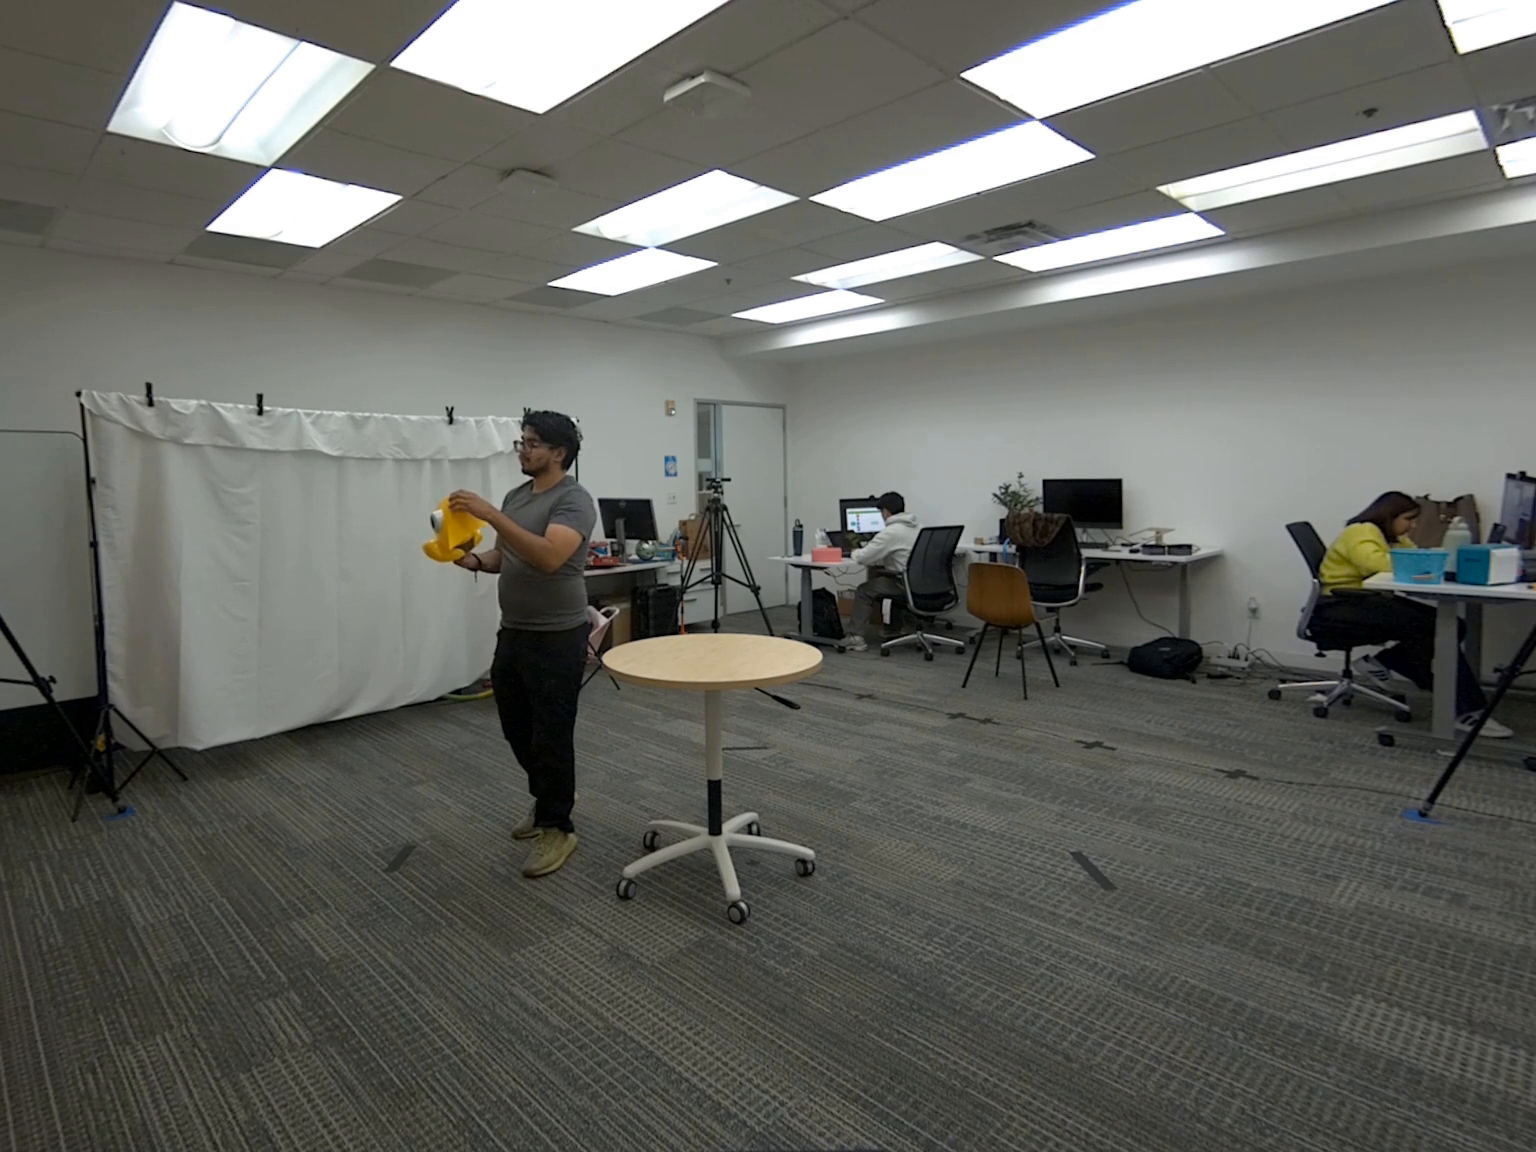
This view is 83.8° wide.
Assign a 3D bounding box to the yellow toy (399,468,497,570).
[{"bbox_3d":[-1.086,-0.200,2.922,0.198,0.225,0.205,18,39,21],"label":"yellow toy"}]
